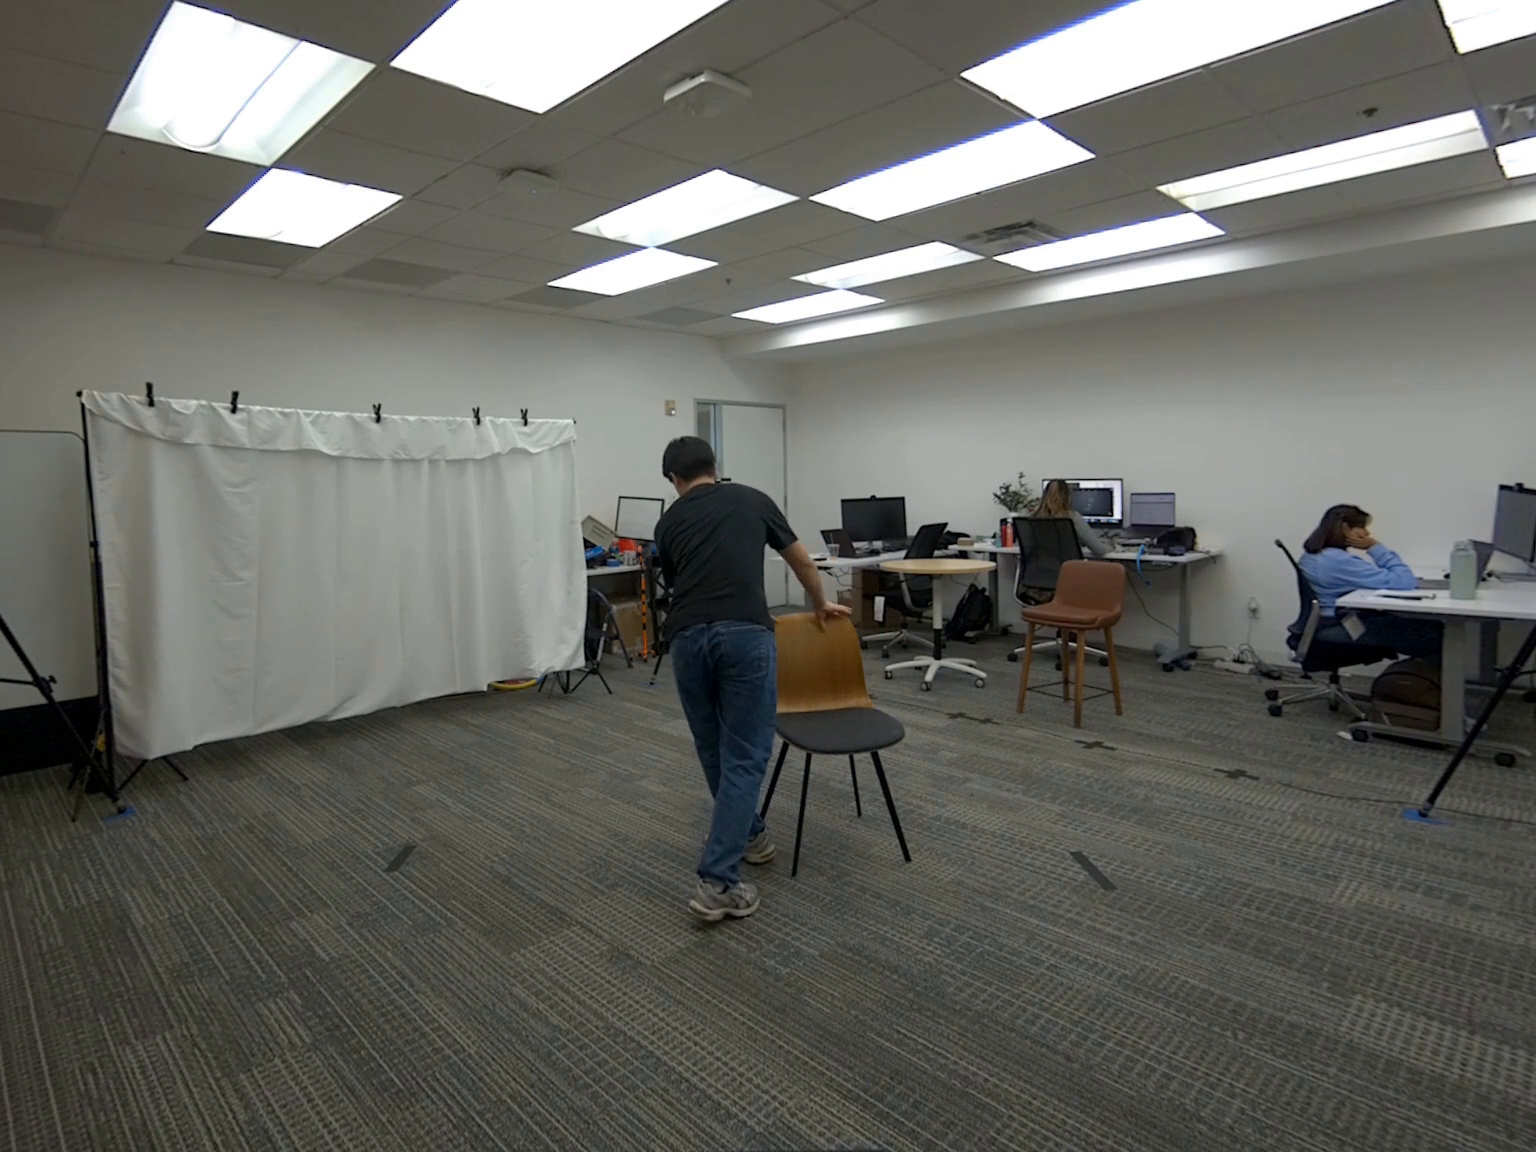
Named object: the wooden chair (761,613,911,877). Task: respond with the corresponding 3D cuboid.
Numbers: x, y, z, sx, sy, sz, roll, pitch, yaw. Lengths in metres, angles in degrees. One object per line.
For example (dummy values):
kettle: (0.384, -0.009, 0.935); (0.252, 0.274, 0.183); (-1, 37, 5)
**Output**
wooden chair: (0.233, 0.598, 3.221); (0.471, 0.877, 0.530); (-2, 0, -16)
